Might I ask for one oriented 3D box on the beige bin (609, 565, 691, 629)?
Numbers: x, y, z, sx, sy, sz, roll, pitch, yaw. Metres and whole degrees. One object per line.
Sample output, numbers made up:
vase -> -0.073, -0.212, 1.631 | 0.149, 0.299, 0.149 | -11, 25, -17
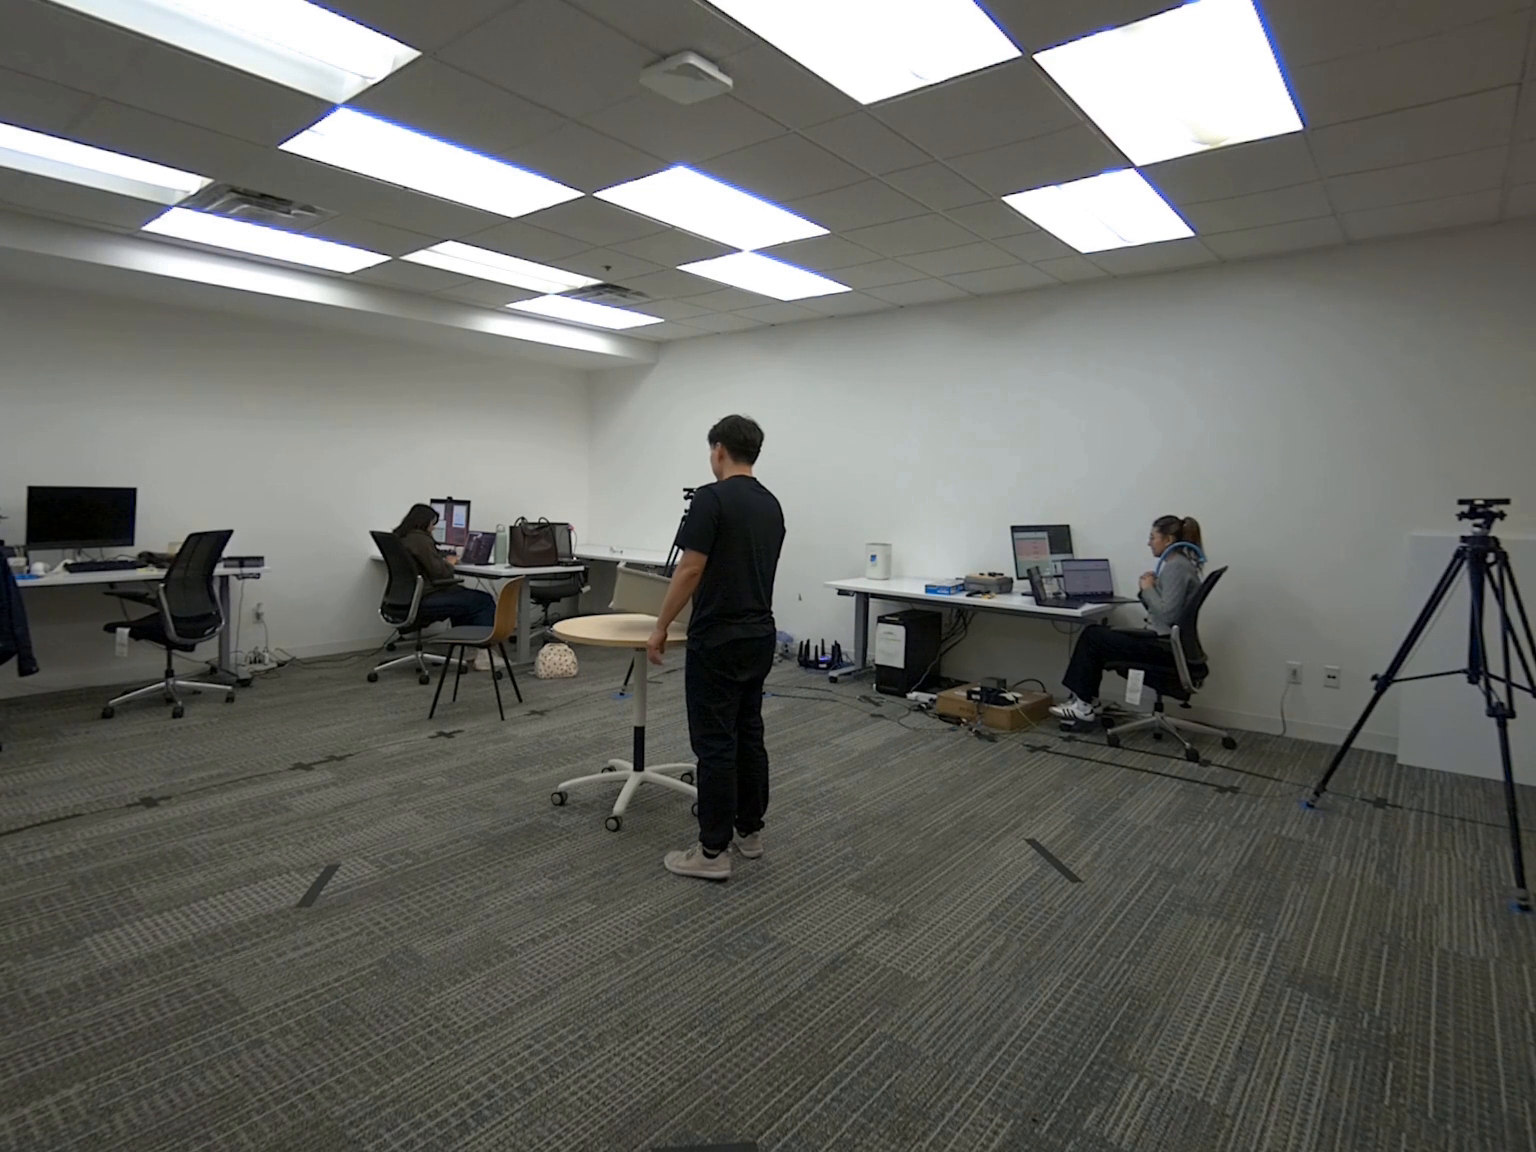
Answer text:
beige bin -> -0.475, 0.068, 3.751 | 0.421, 0.188, 0.380 | 13, 6, -3
